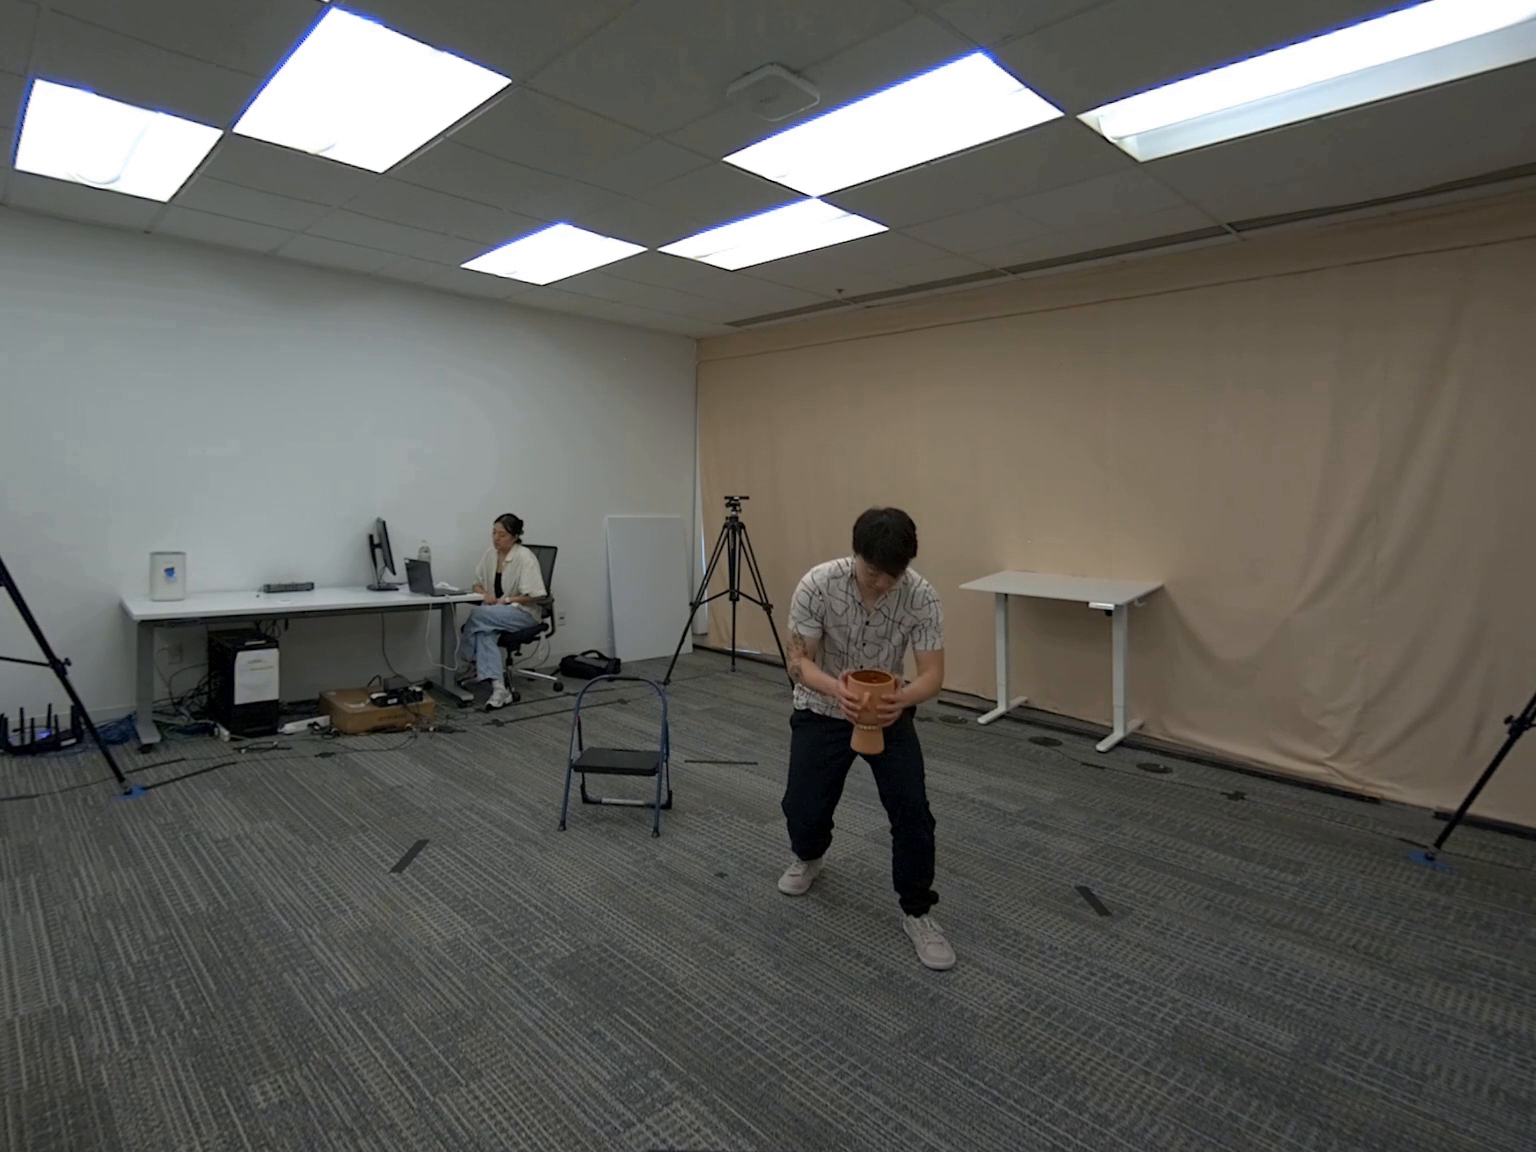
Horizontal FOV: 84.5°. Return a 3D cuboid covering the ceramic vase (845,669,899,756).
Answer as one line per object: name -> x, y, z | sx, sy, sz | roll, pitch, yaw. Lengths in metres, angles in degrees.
ceramic vase -> 0.288, 0.399, 2.457 | 0.156, 0.218, 0.138 | -8, 16, -37
